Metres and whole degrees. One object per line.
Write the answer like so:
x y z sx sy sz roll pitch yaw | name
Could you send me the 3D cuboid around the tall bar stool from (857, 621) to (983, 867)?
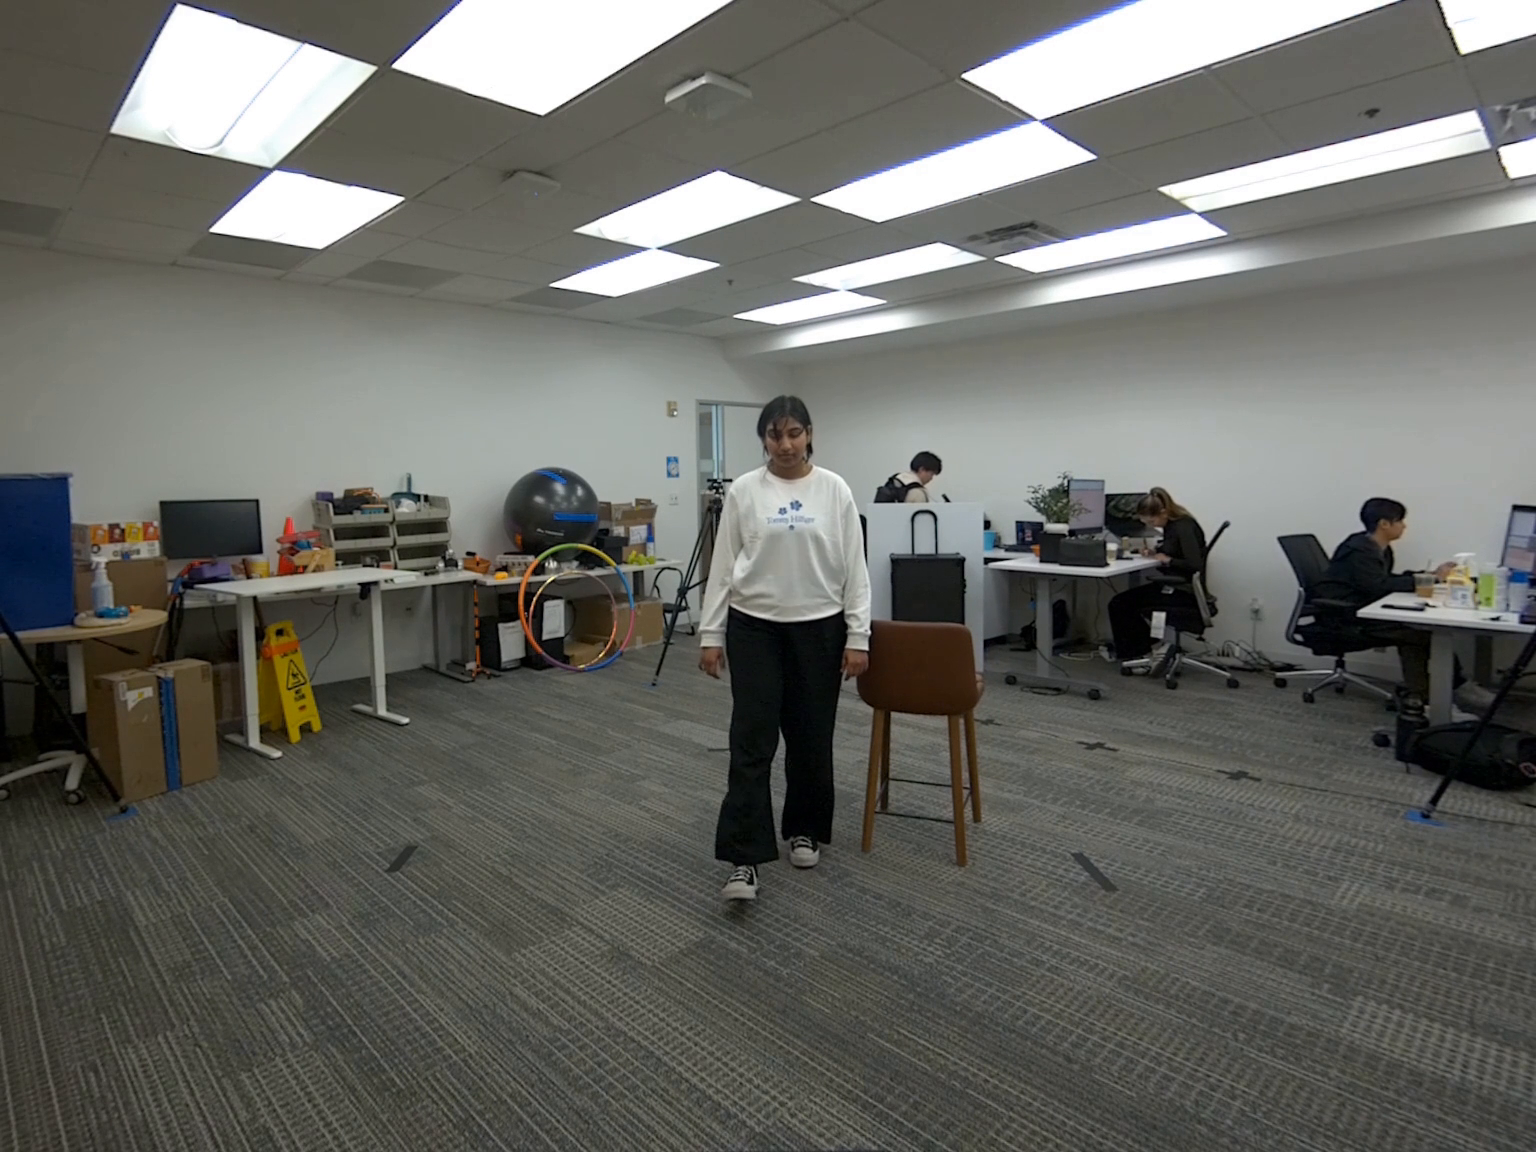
0.591 0.576 3.306 0.466 0.885 0.460 1 6 22 | tall bar stool
